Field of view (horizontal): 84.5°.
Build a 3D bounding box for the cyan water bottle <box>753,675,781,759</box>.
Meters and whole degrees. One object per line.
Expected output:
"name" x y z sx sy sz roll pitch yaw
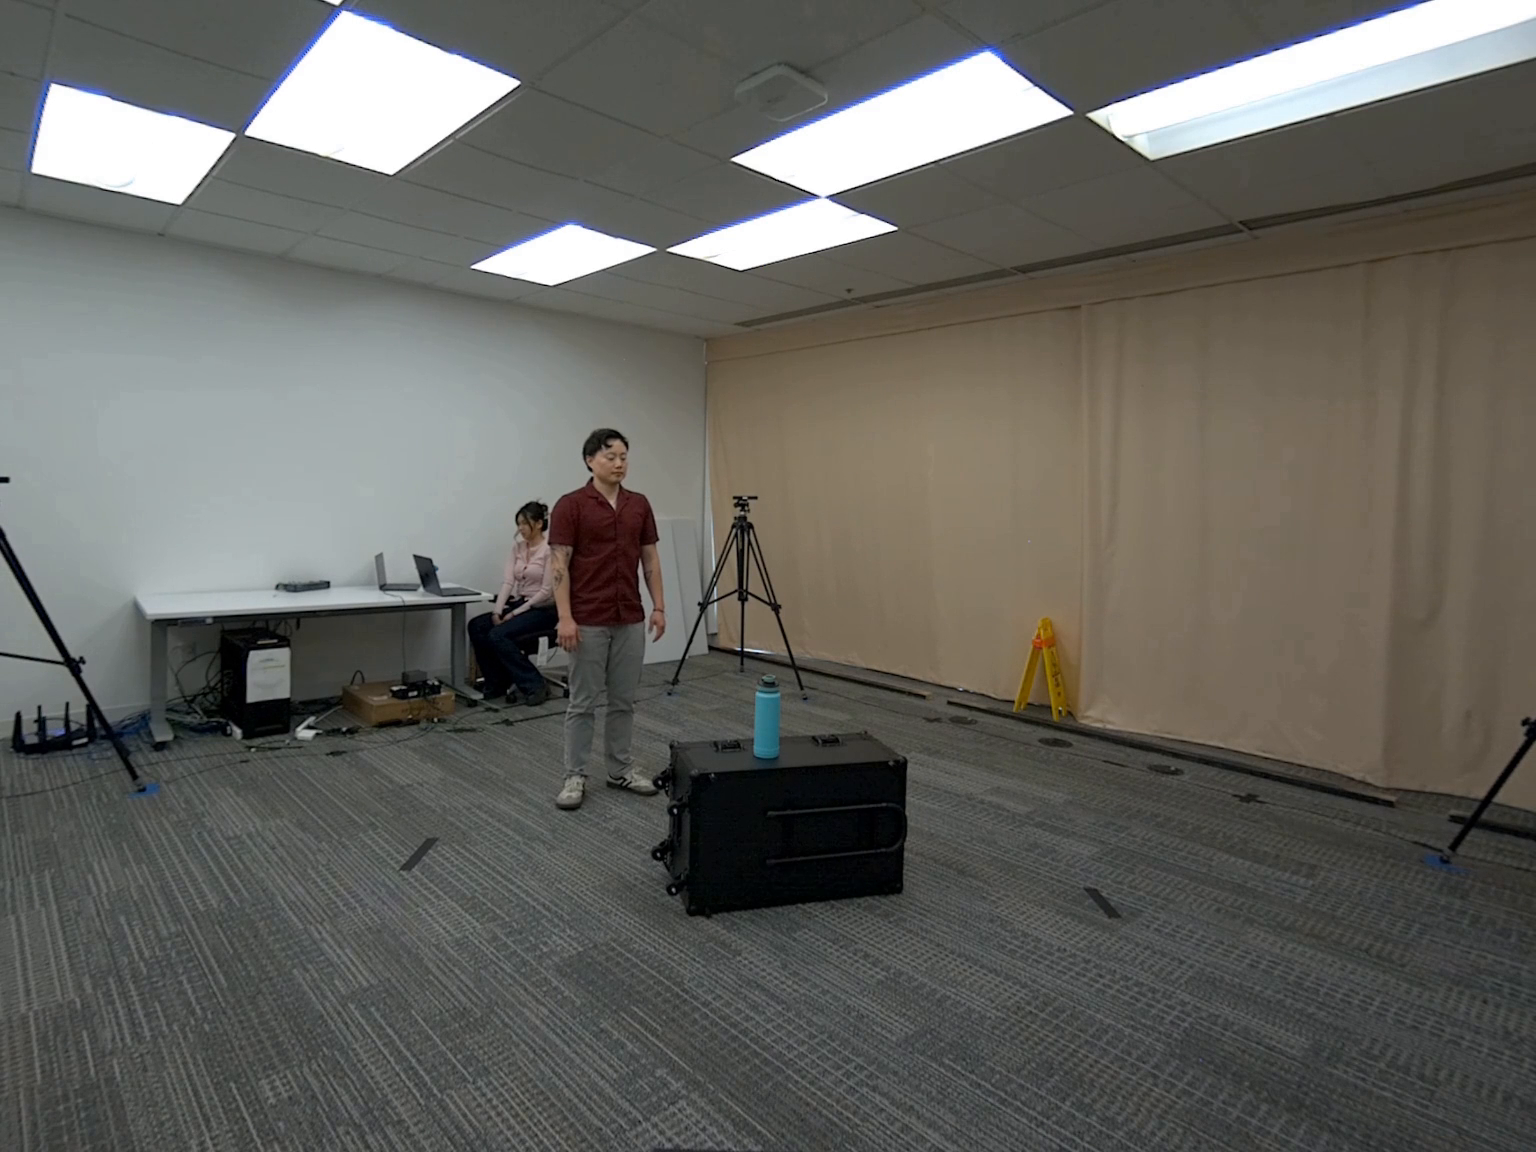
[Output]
"cyan water bottle" -0.010 0.493 2.974 0.092 0.283 0.092 0 2 -1
